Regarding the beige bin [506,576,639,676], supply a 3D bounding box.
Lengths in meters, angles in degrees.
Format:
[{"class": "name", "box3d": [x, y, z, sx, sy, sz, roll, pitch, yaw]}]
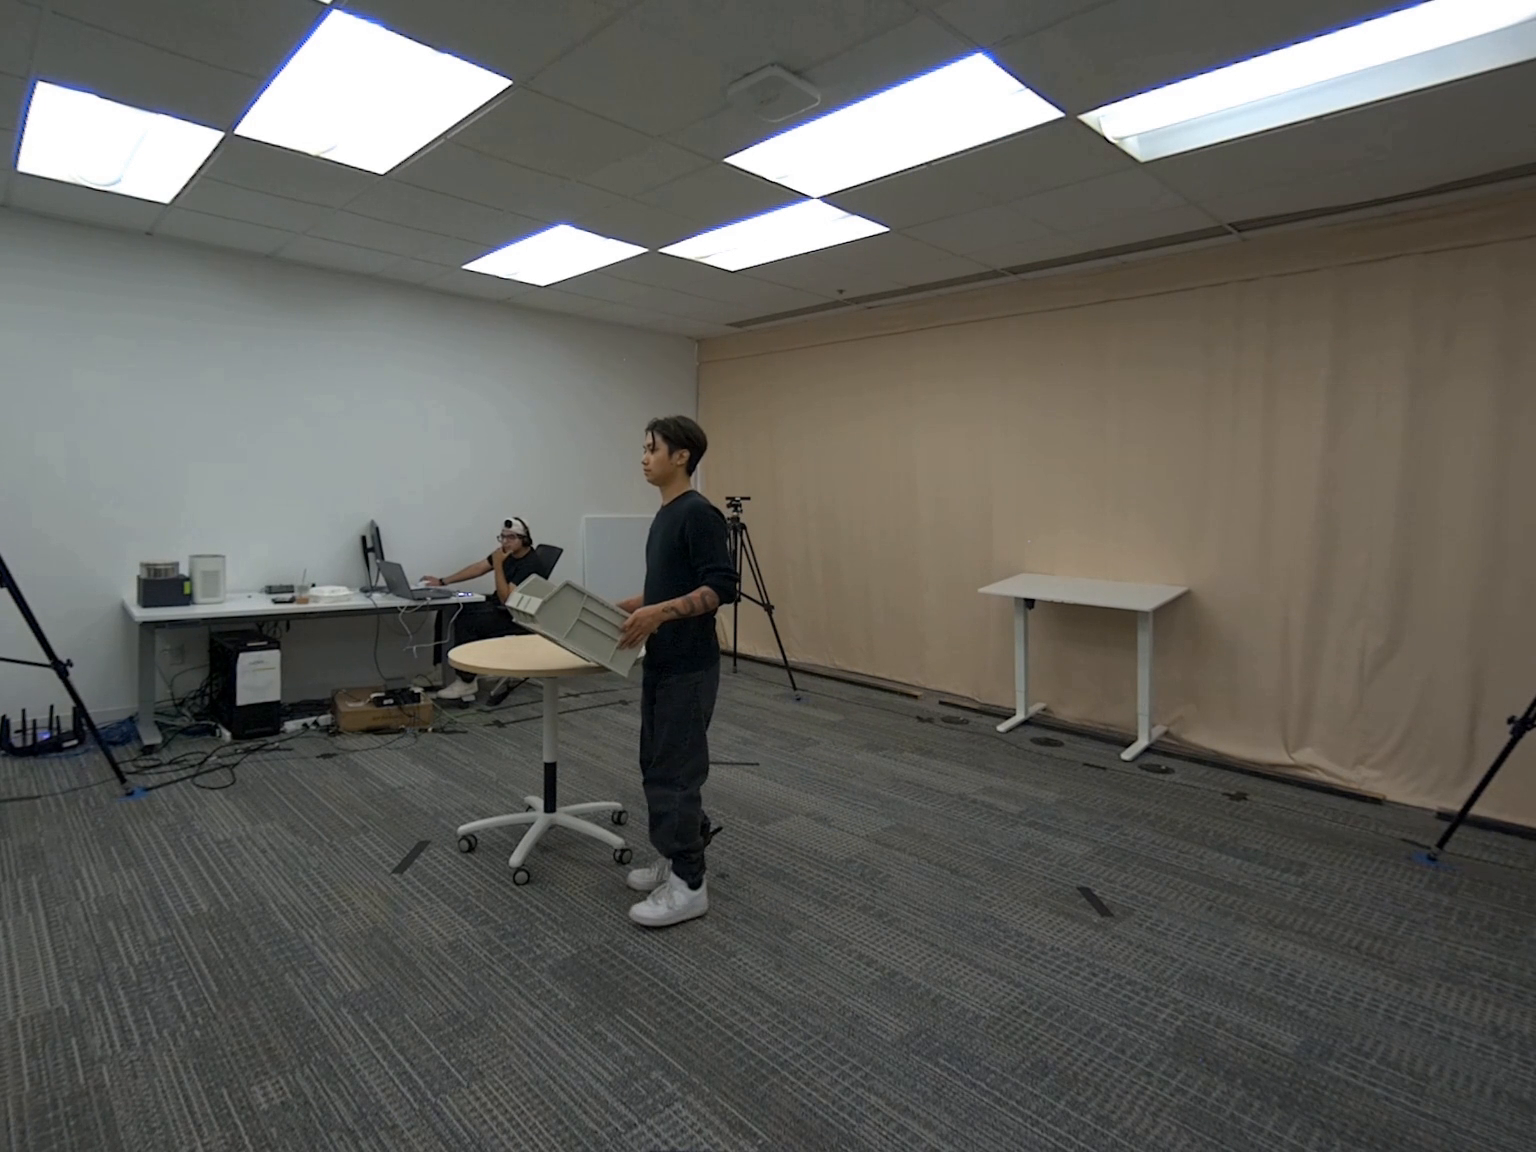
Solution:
[{"class": "beige bin", "box3d": [-0.642, 0.154, 2.789, 0.368, 0.190, 0.431, 34, -14, -25]}]
